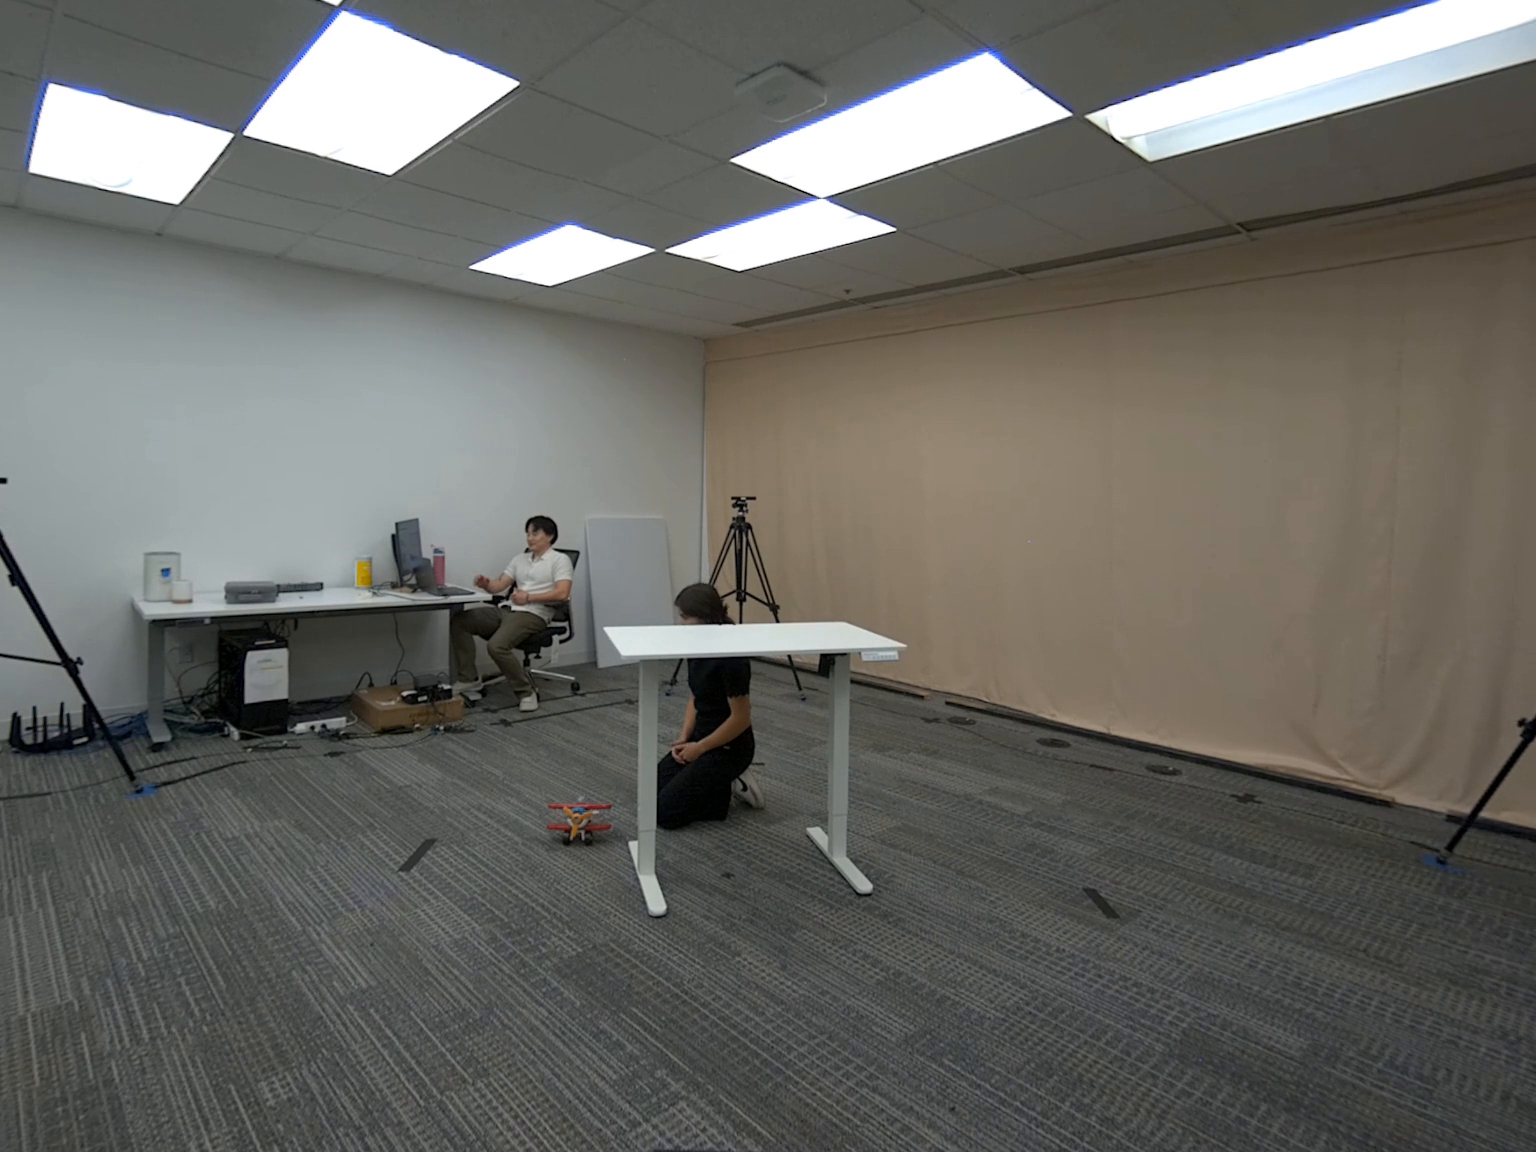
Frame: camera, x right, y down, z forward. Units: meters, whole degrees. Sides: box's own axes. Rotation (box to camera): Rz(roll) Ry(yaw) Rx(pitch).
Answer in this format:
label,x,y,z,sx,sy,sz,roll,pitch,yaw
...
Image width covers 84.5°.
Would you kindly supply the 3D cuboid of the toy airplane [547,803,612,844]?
label,x,y,z,sx,sy,sz,roll,pitch,yaw
toy airplane,-0.792,0.987,3.429,0.246,0.156,0.265,-2,6,-31
